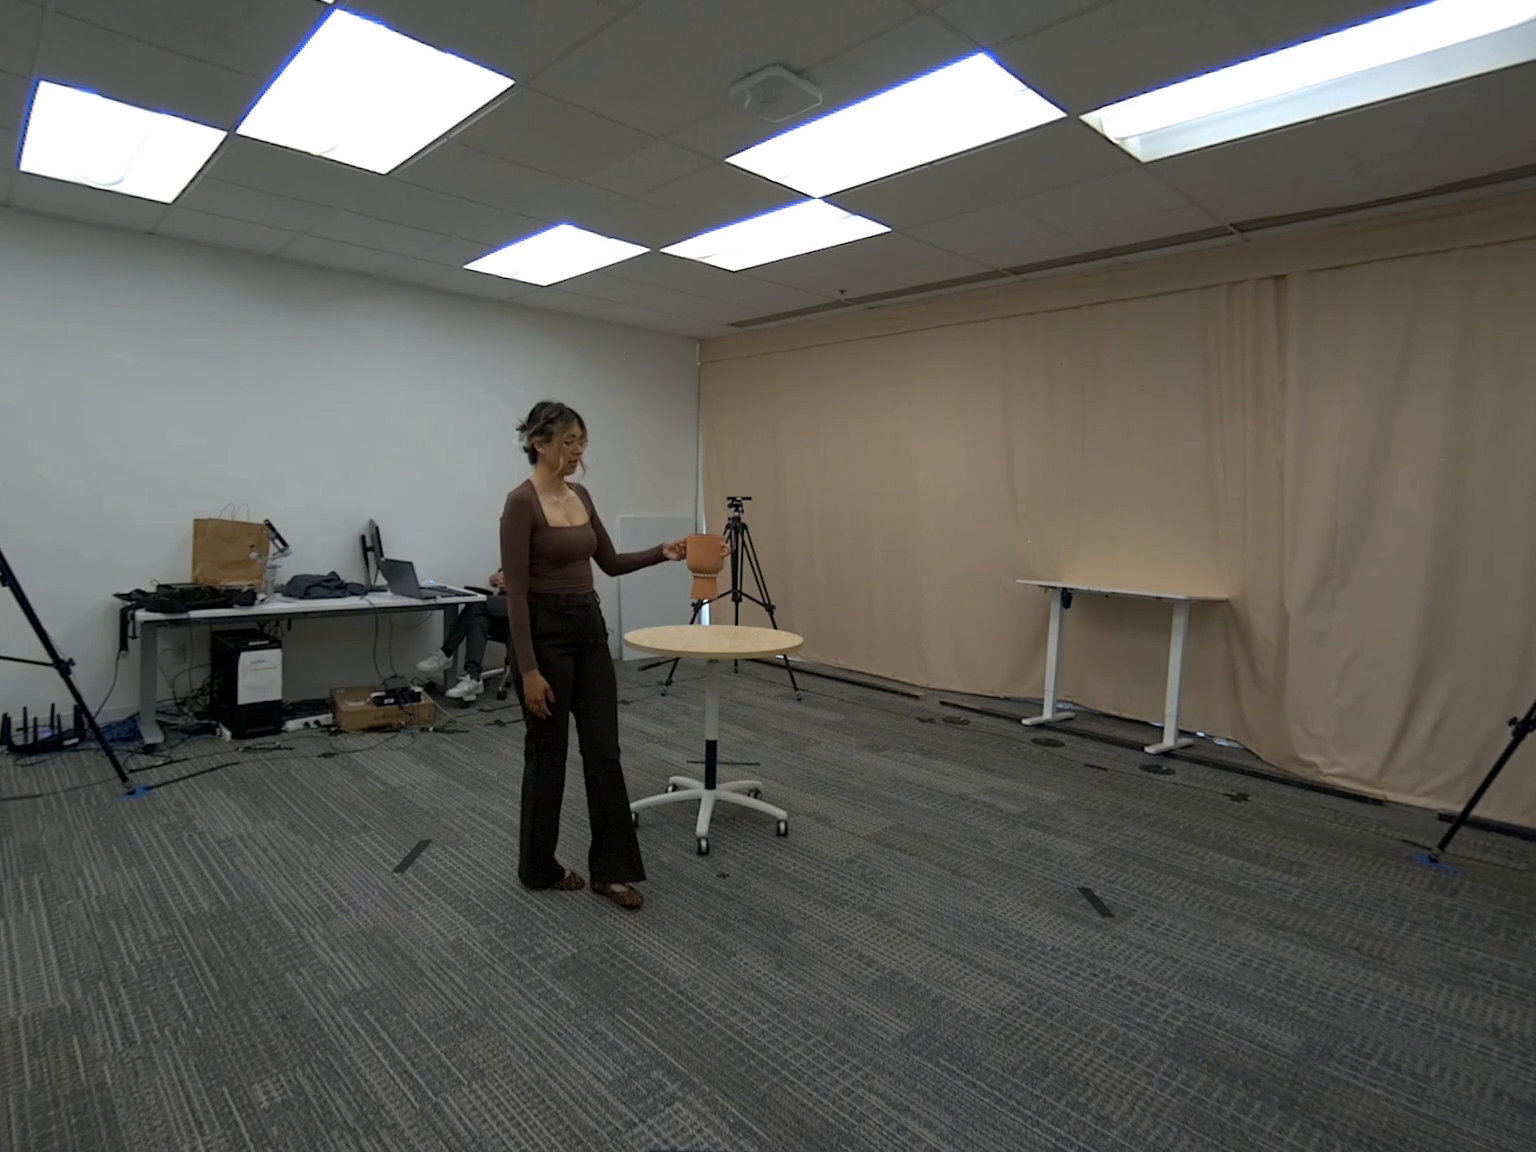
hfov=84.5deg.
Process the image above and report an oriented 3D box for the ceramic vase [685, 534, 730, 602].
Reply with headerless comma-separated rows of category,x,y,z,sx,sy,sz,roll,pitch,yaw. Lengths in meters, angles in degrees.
ceramic vase,-0.228,-0.032,2.893,0.132,0.219,0.161,1,3,-20
